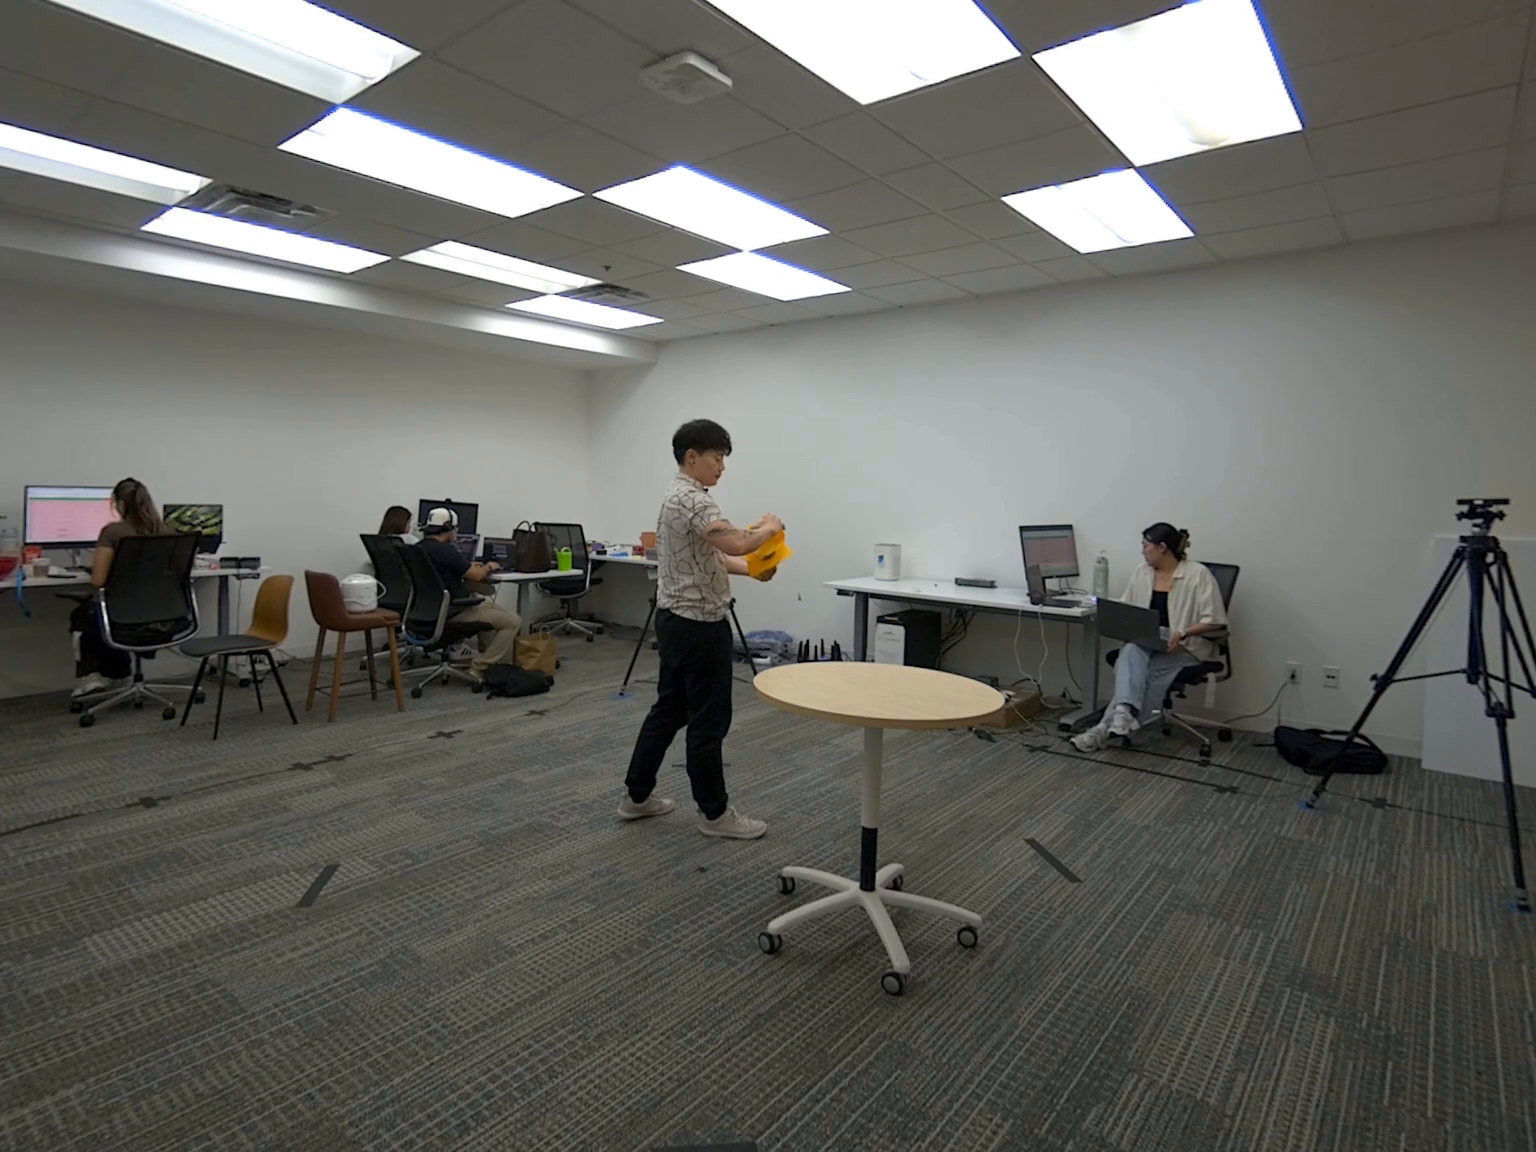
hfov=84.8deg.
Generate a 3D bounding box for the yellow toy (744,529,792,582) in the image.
[{"bbox_3d":[-0.034,-0.103,3.527,0.204,0.199,0.225,-29,-22,-6],"label":"yellow toy"}]
